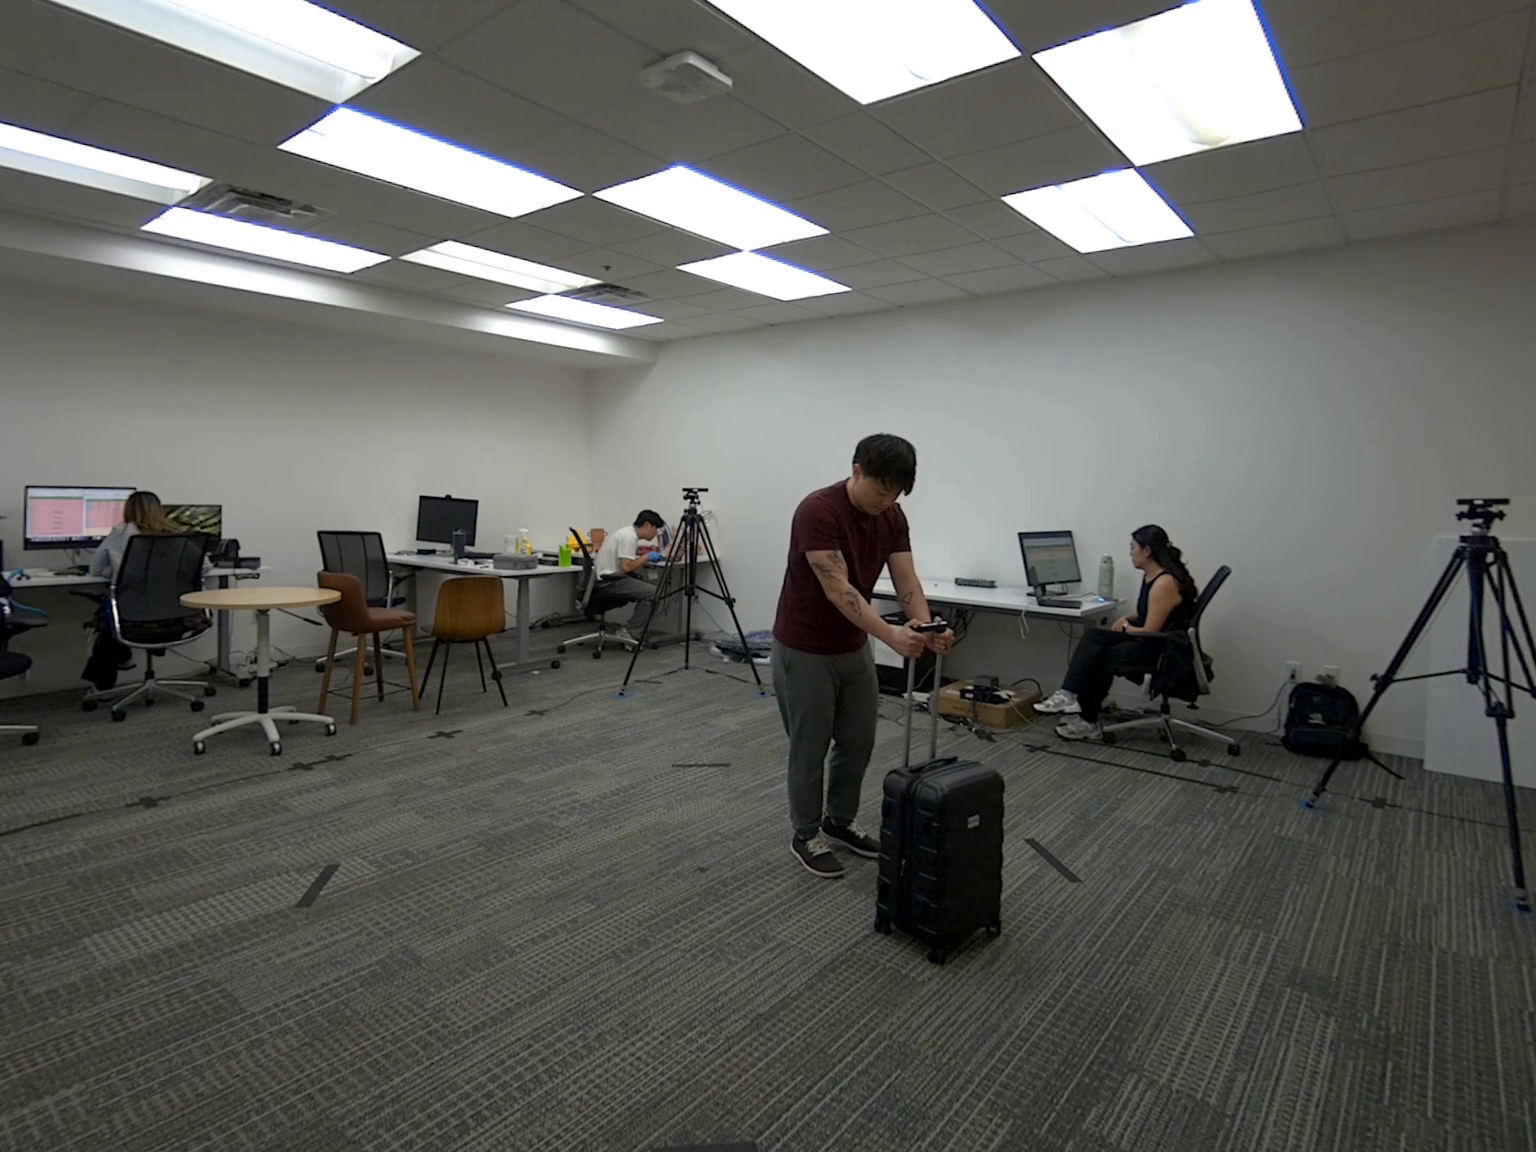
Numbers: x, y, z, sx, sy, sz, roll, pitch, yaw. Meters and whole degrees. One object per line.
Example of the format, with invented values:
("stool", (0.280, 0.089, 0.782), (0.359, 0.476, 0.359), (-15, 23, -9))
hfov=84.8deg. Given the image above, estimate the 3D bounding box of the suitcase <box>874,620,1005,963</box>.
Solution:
("suitcase", (0.550, 0.657, 2.652), (0.373, 0.973, 0.266), (-3, 7, -38))
